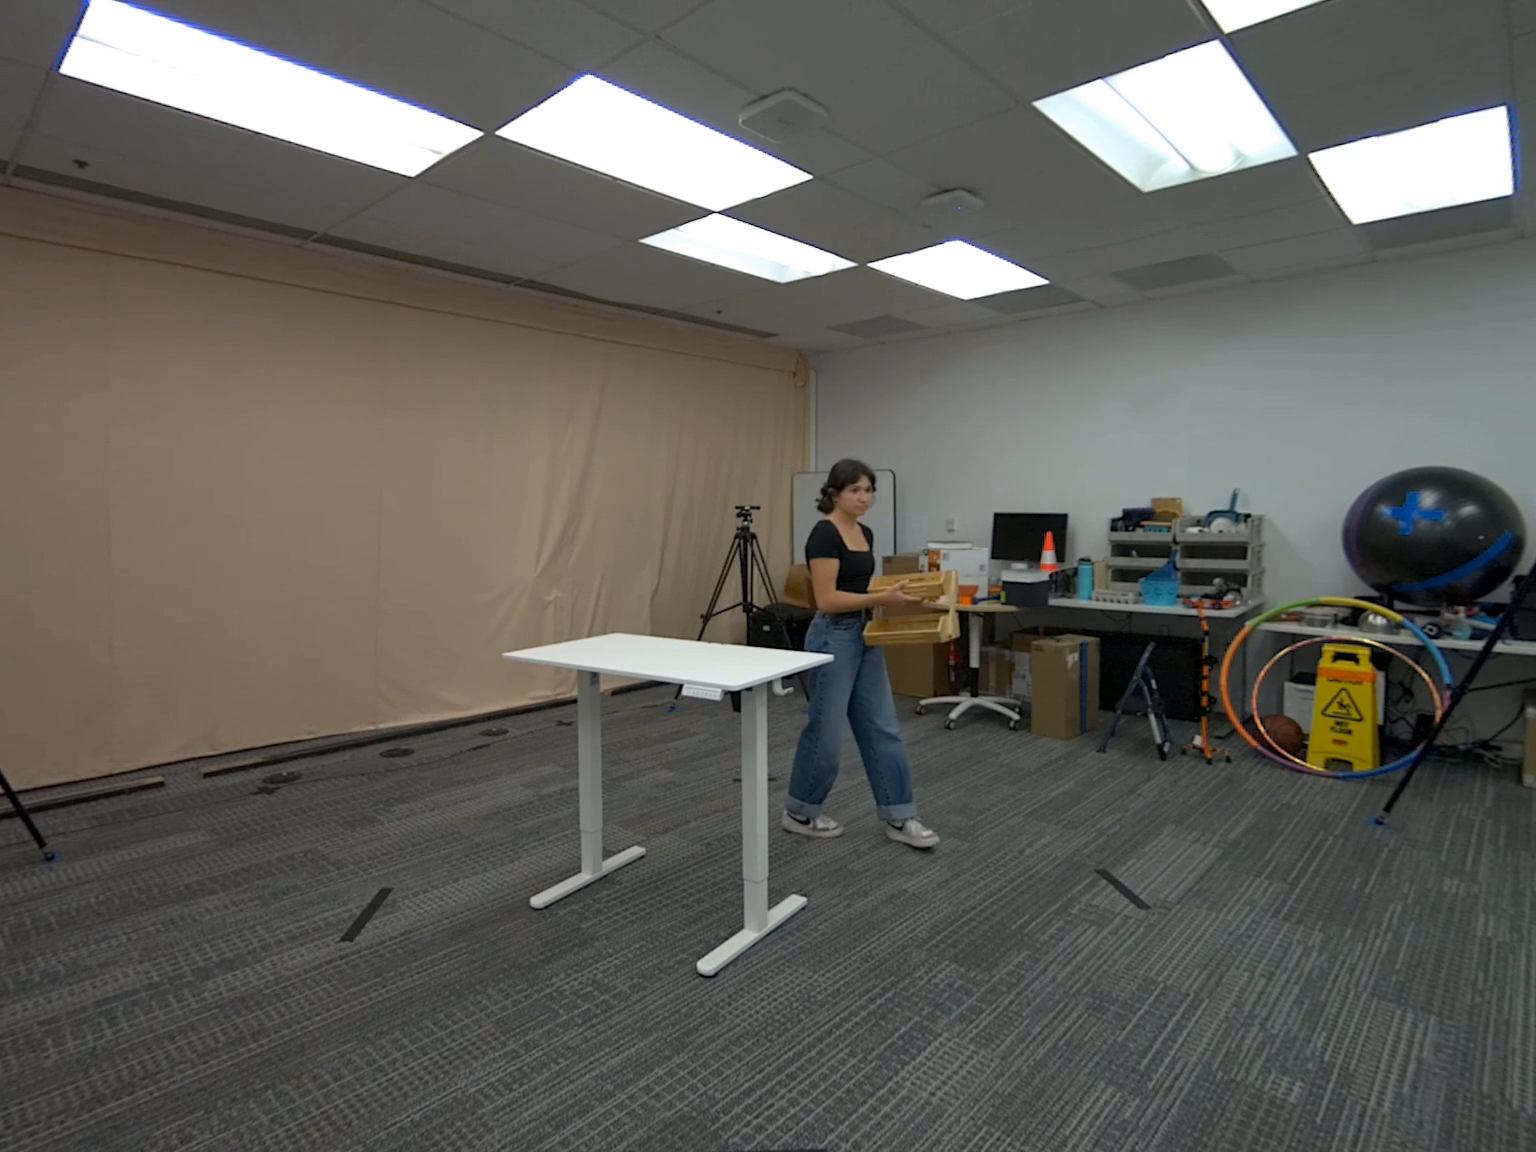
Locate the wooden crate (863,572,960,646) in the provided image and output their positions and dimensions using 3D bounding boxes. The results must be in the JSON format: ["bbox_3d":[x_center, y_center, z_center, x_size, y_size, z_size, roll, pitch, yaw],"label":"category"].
[{"bbox_3d":[0.568,0.116,3.298,0.333,0.274,0.294,-6,-3,28],"label":"wooden crate"}]
